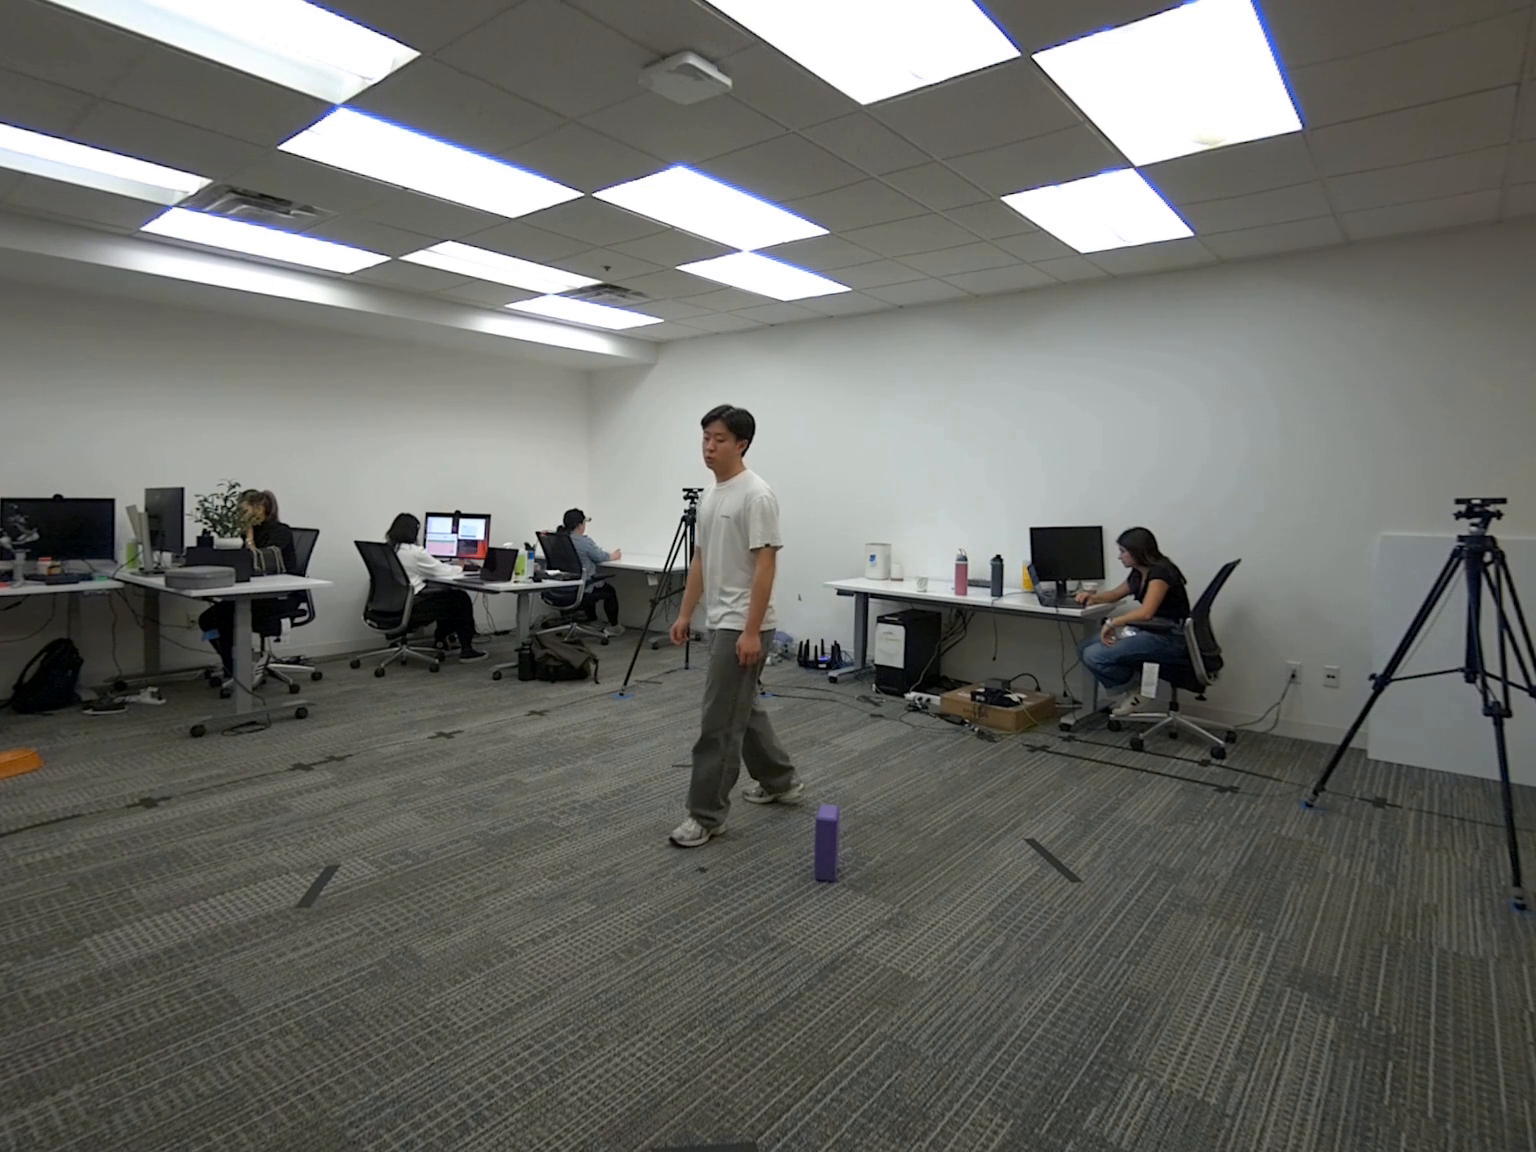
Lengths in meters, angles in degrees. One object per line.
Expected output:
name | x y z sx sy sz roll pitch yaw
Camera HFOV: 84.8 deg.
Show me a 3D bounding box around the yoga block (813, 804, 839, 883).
yoga block | 0.218 0.959 3.094 0.077 0.229 0.148 2 4 8
